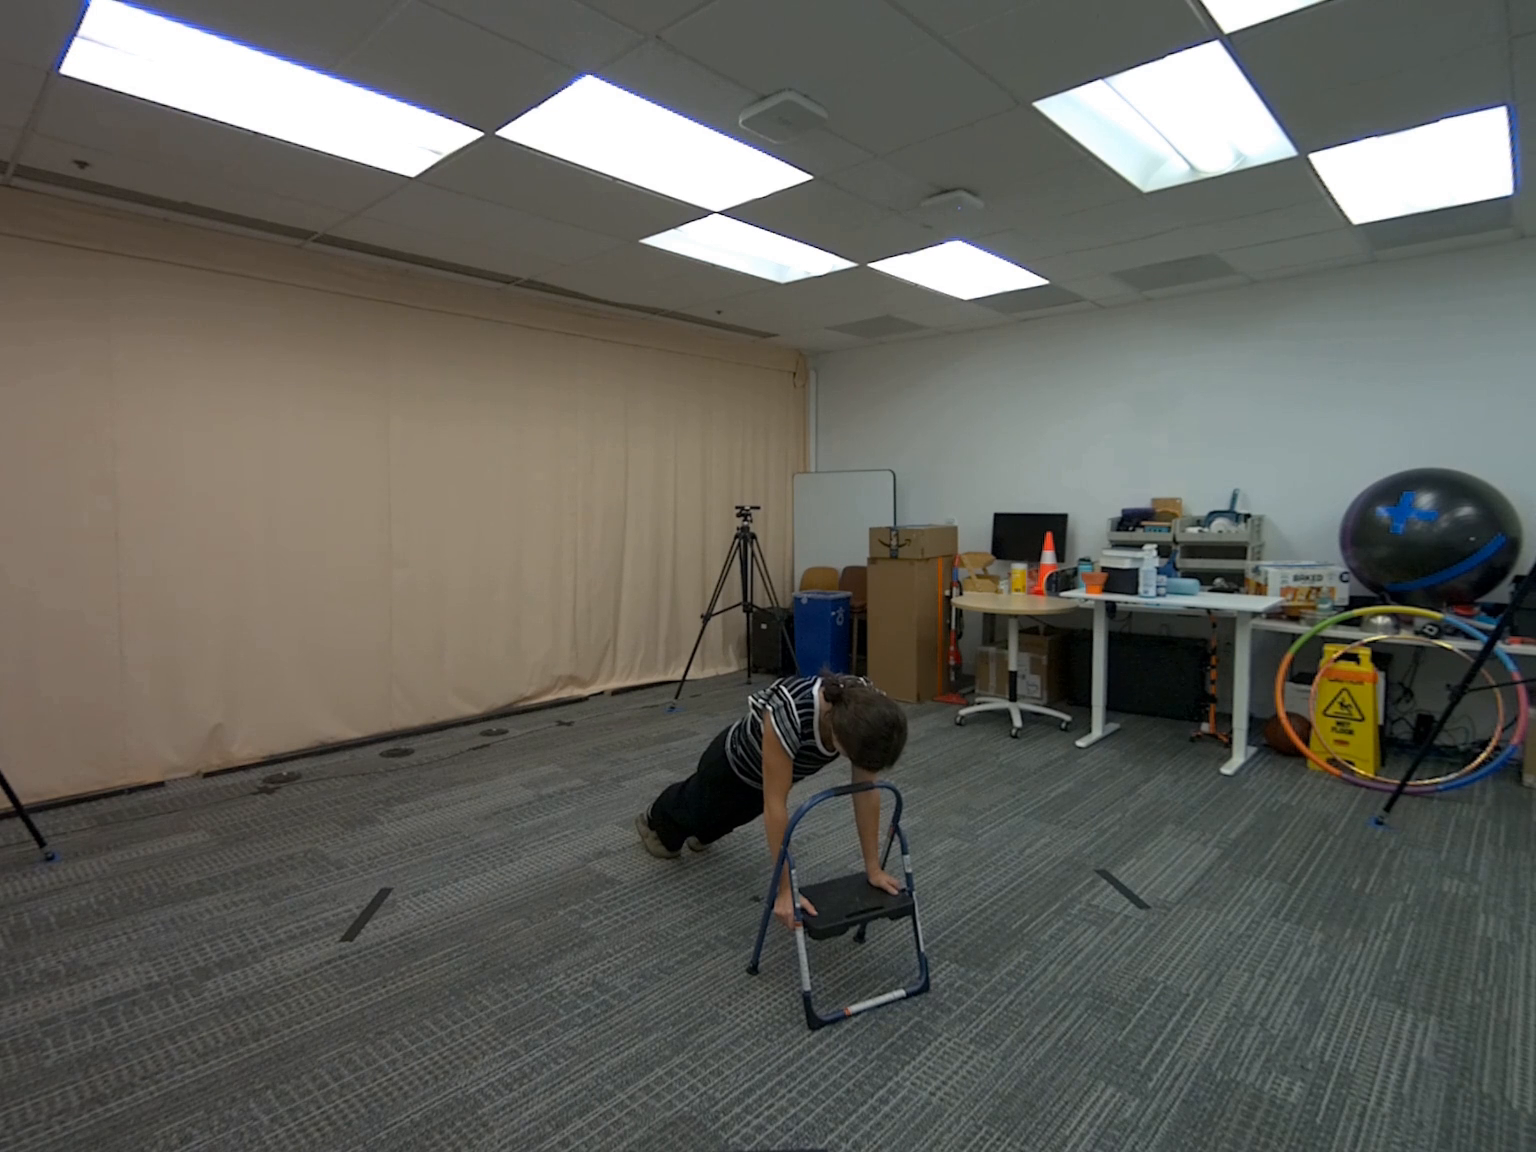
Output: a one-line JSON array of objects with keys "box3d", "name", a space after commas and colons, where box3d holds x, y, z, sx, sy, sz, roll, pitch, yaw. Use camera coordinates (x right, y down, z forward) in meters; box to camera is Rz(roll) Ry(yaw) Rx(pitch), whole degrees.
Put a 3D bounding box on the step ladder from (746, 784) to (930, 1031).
[{"box3d": [0.212, 0.888, 2.453, 0.419, 0.604, 0.359, -2, 5, -30], "name": "step ladder"}]
